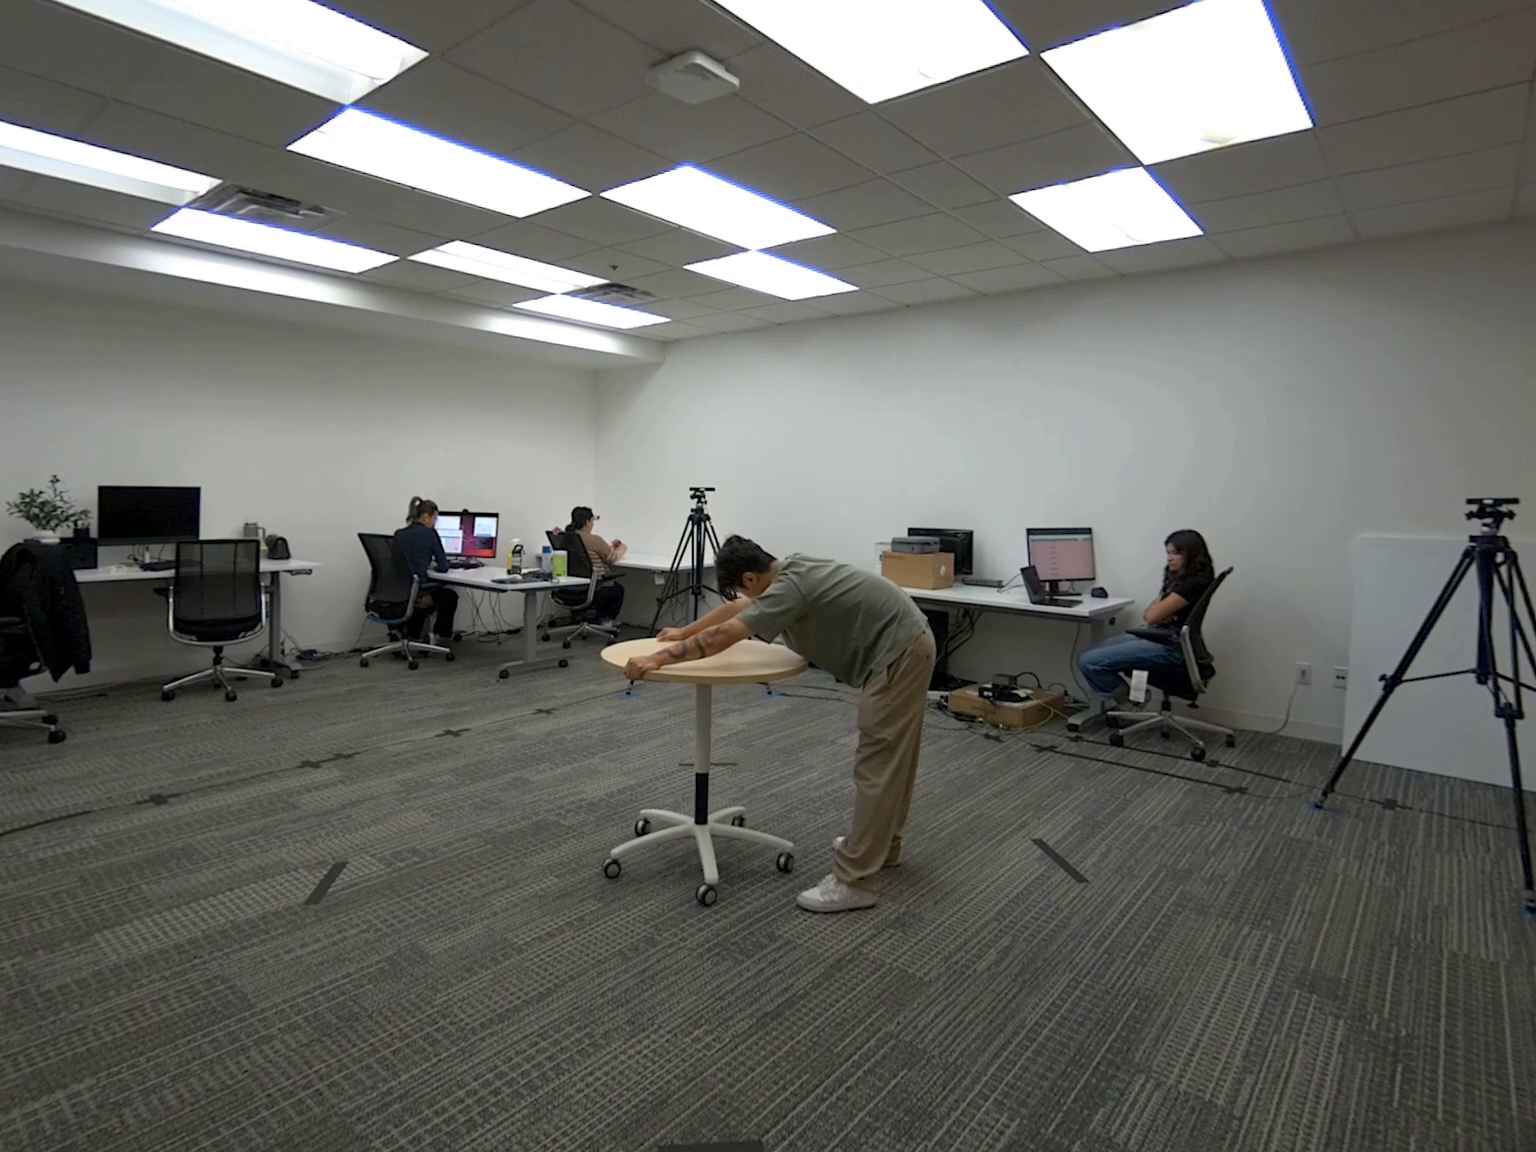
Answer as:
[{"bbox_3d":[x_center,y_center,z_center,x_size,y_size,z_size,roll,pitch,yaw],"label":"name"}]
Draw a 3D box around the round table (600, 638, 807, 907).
[{"bbox_3d":[-0.264,0.673,3.153,0.784,0.784,0.788,1,4,-2],"label":"round table"}]
